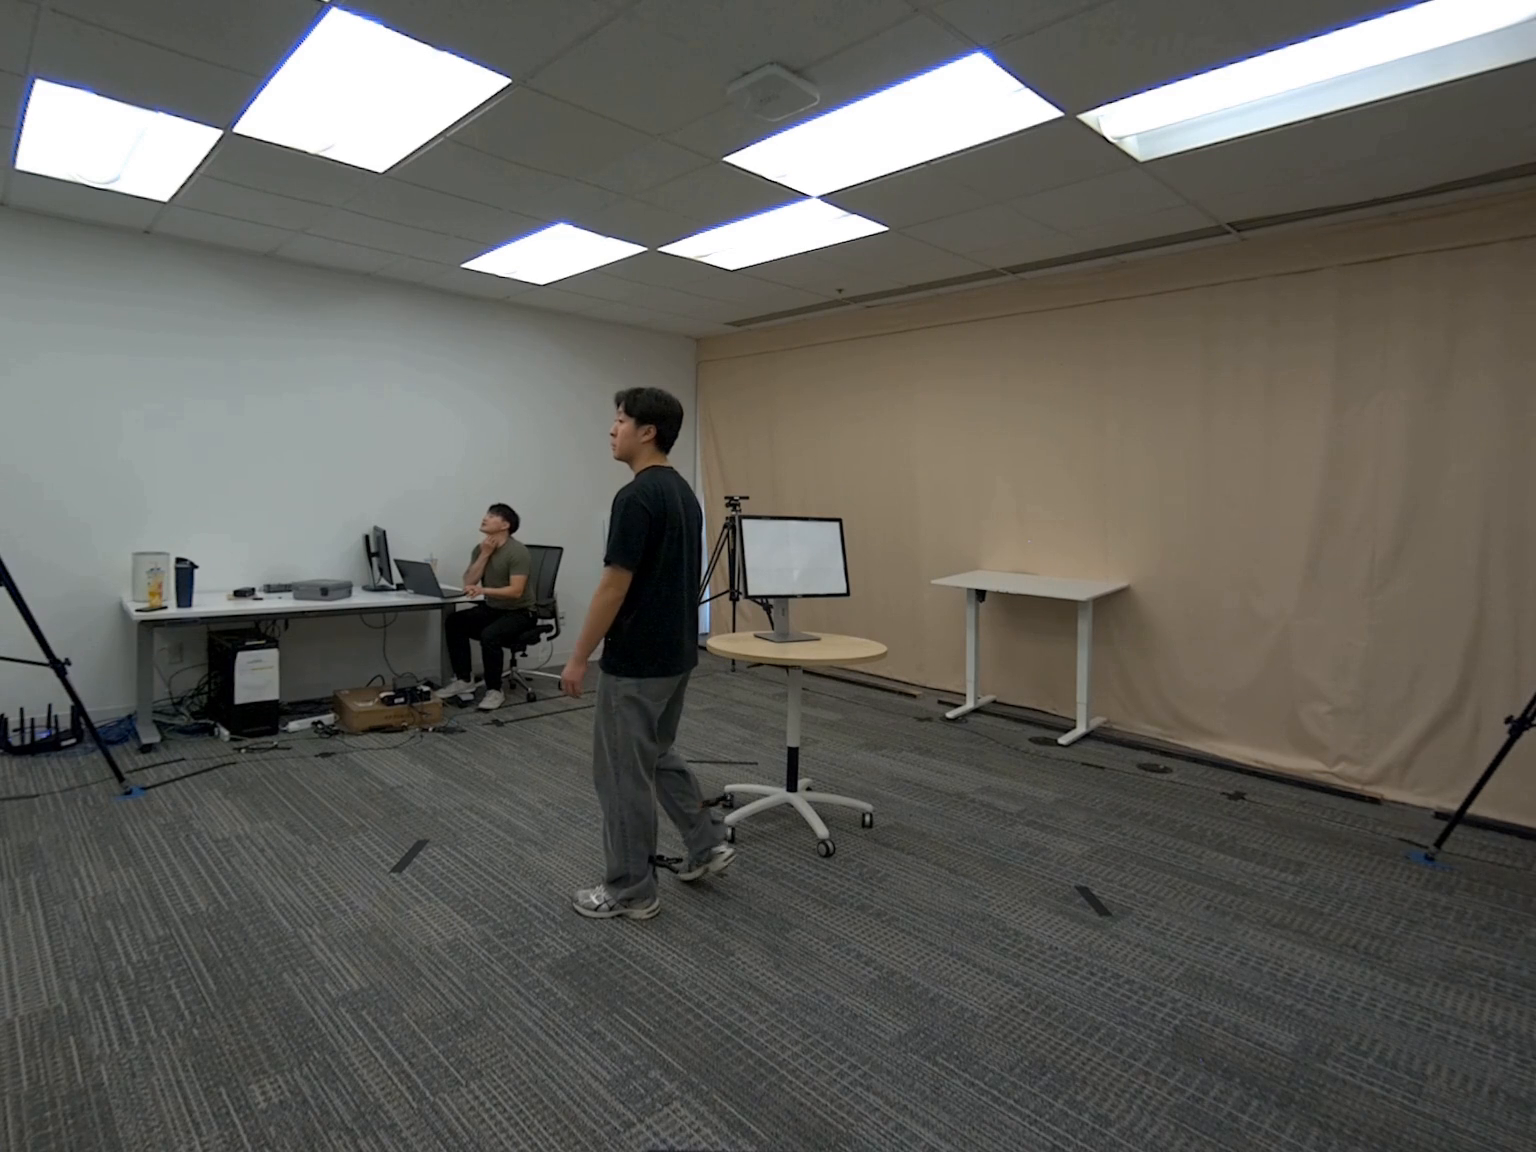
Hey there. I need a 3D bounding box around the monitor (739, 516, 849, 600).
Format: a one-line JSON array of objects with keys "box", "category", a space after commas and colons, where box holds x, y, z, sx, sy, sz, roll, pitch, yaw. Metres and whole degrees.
[{"box": [0.086, 0.018, 3.739, 0.550, 0.564, 0.227, 0, 5, -29], "category": "monitor"}]
